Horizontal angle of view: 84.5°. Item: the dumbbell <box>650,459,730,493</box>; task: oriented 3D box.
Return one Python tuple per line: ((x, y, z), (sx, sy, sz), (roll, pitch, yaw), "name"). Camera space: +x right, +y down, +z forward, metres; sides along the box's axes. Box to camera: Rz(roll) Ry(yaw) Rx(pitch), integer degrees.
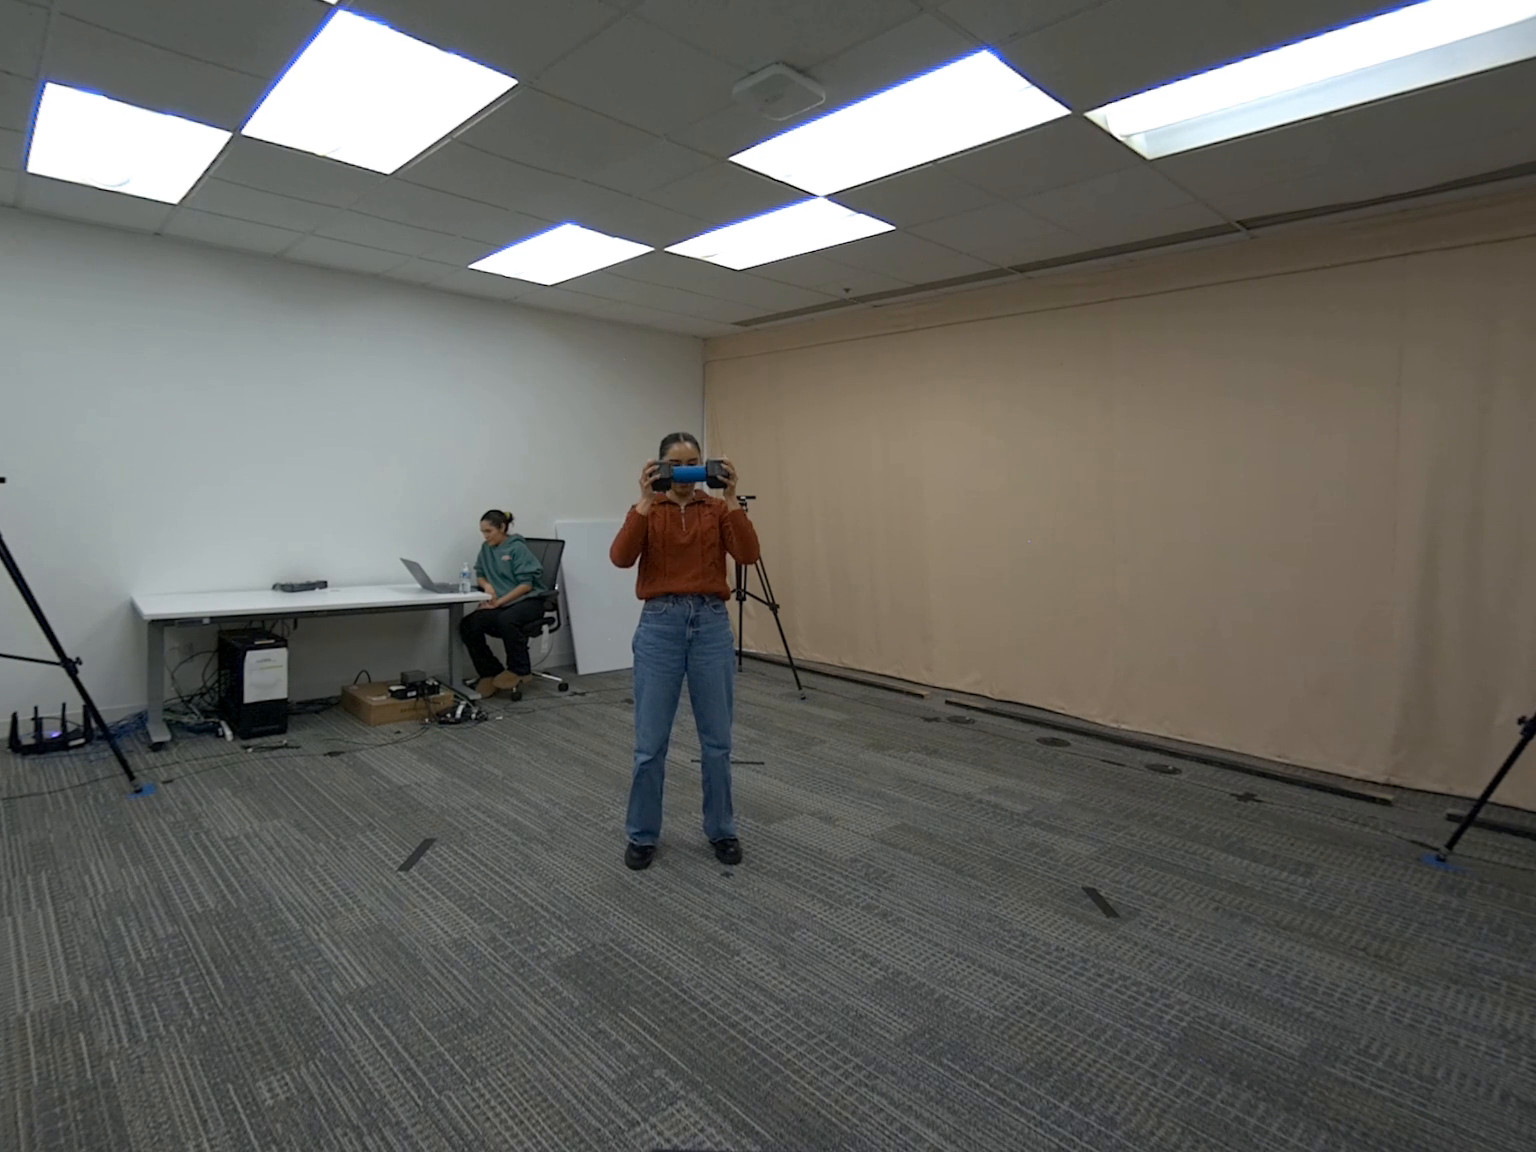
((-0.297, -0.378, 3.068), (0.292, 0.125, 0.107), (-3, -20, -8), "dumbbell")
